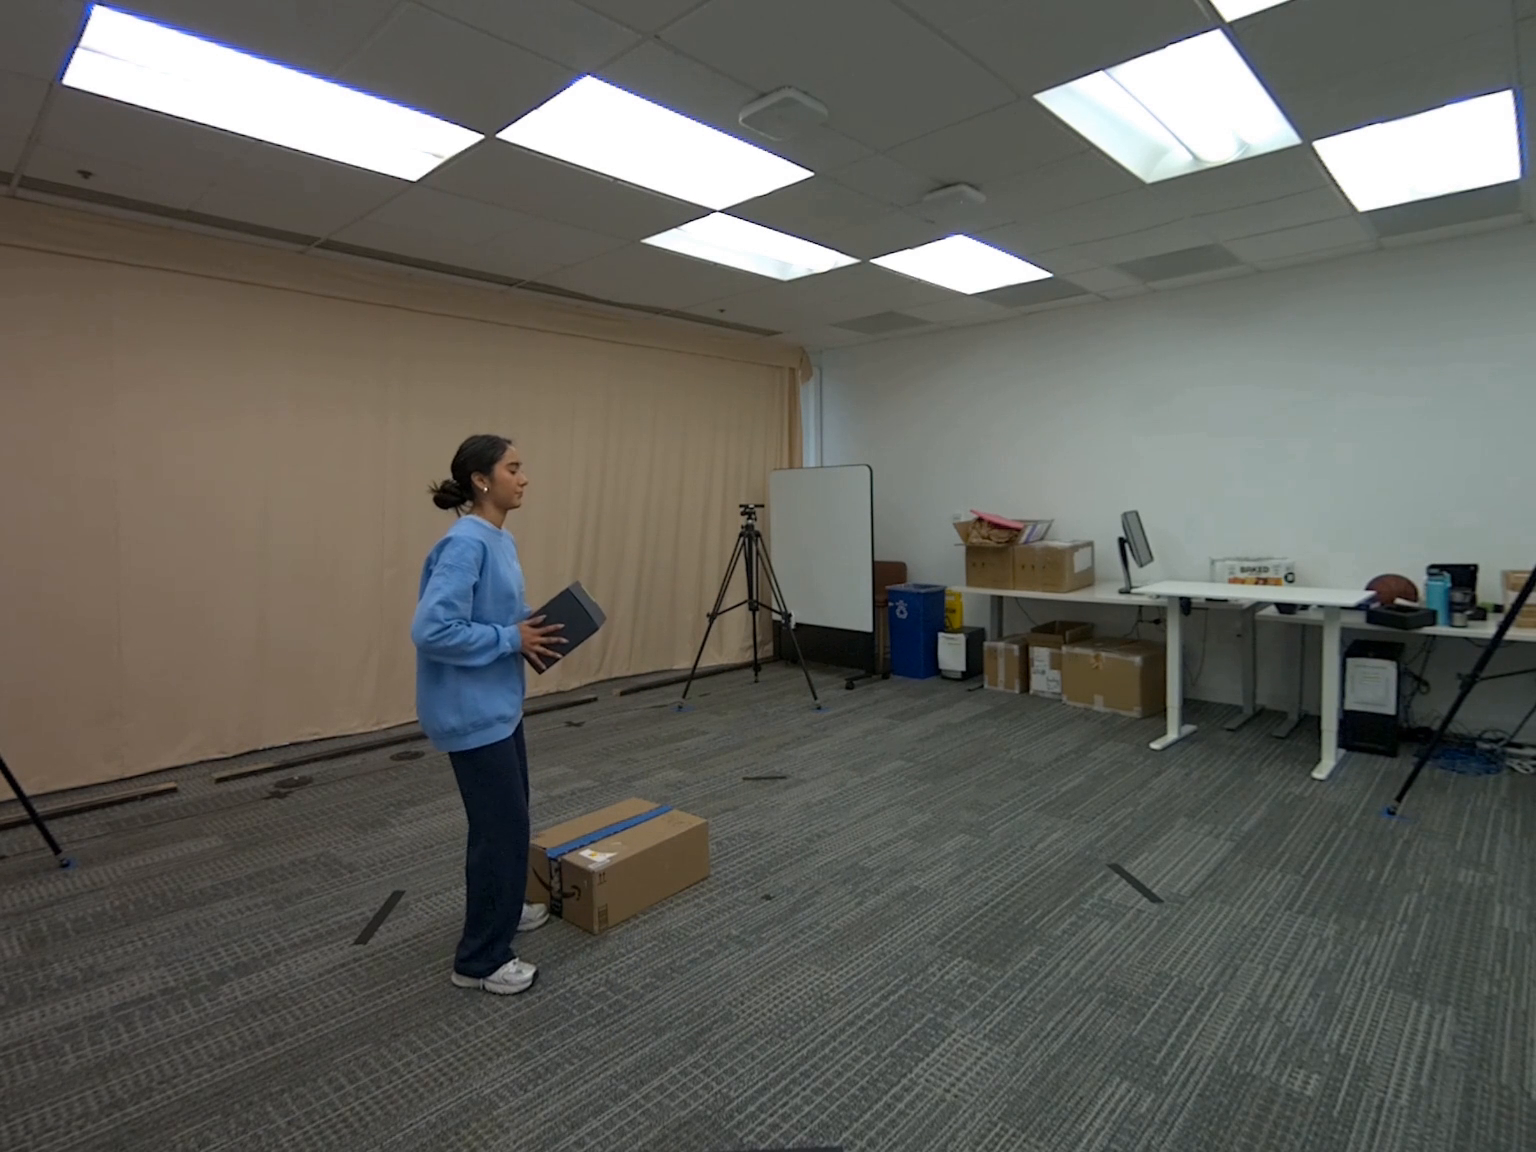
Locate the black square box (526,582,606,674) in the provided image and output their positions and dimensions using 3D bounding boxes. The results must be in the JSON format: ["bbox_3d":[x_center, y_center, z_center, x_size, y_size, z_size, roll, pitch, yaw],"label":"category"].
[{"bbox_3d":[-0.640,0.149,2.543,0.228,0.155,0.218,-38,5,0],"label":"black square box"}]
